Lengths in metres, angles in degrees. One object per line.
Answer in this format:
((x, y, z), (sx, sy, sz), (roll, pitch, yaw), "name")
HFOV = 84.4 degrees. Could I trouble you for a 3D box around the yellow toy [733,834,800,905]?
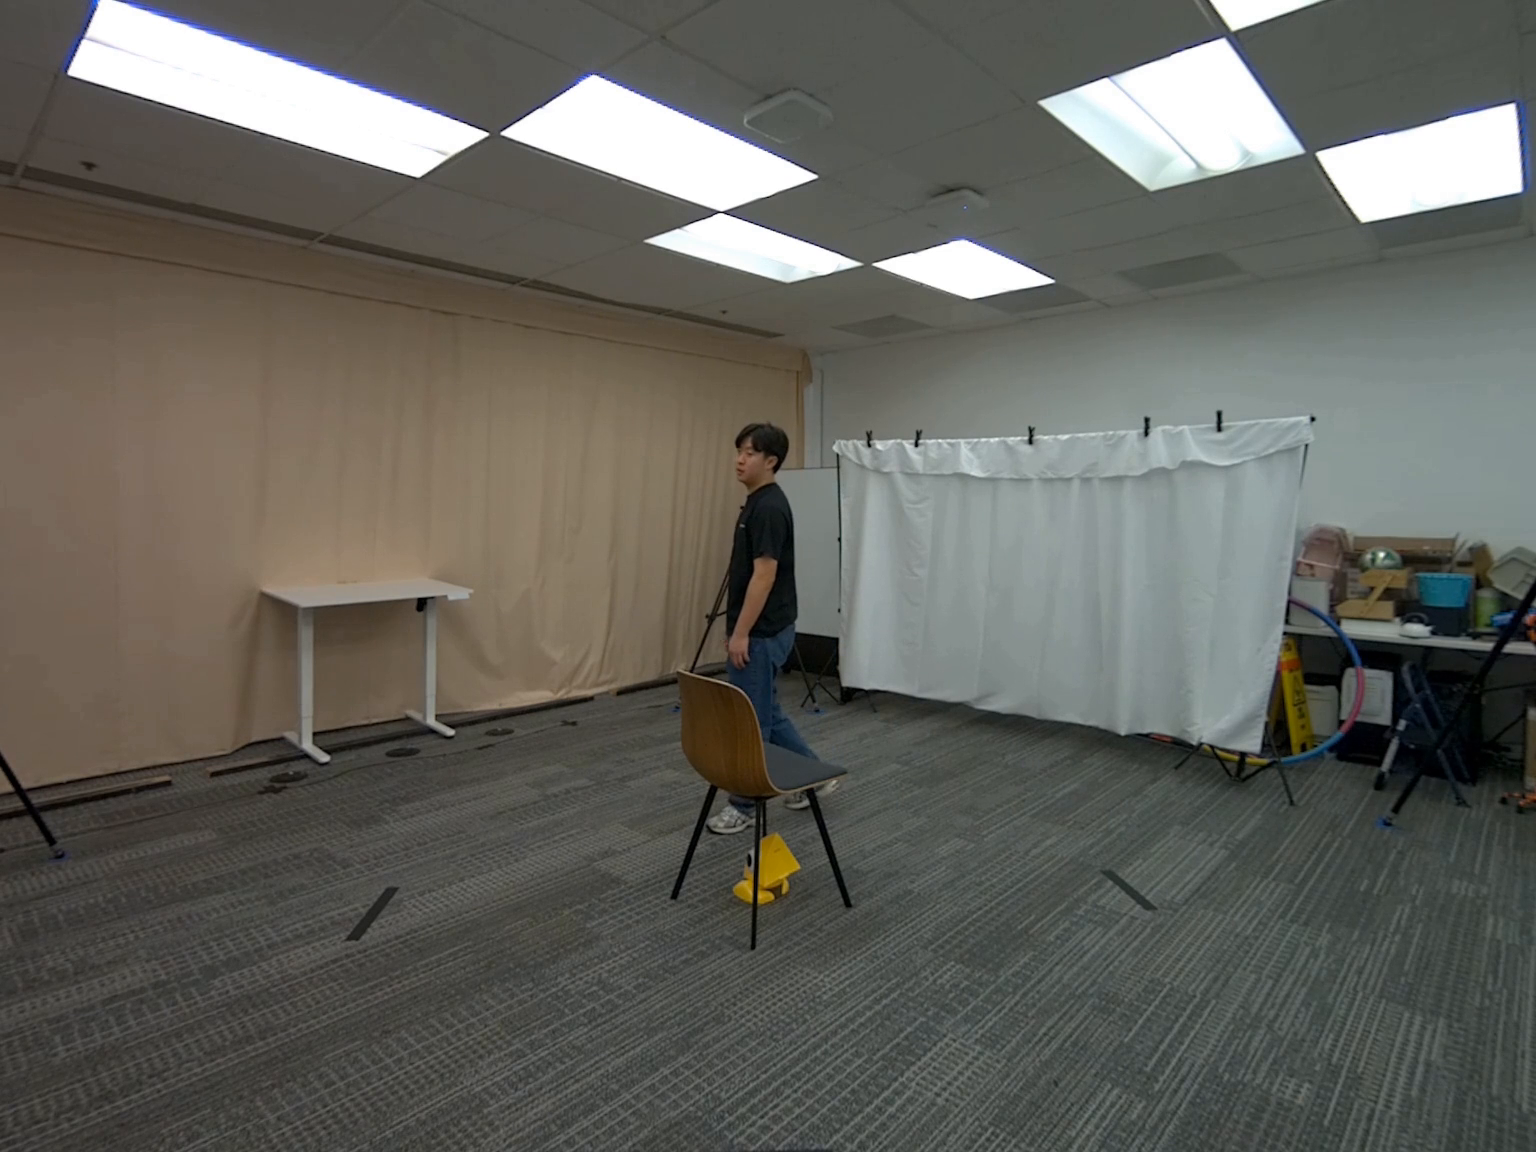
((-0.019, 1.017, 3.038), (0.199, 0.230, 0.198), (2, 5, 42), "yellow toy")
